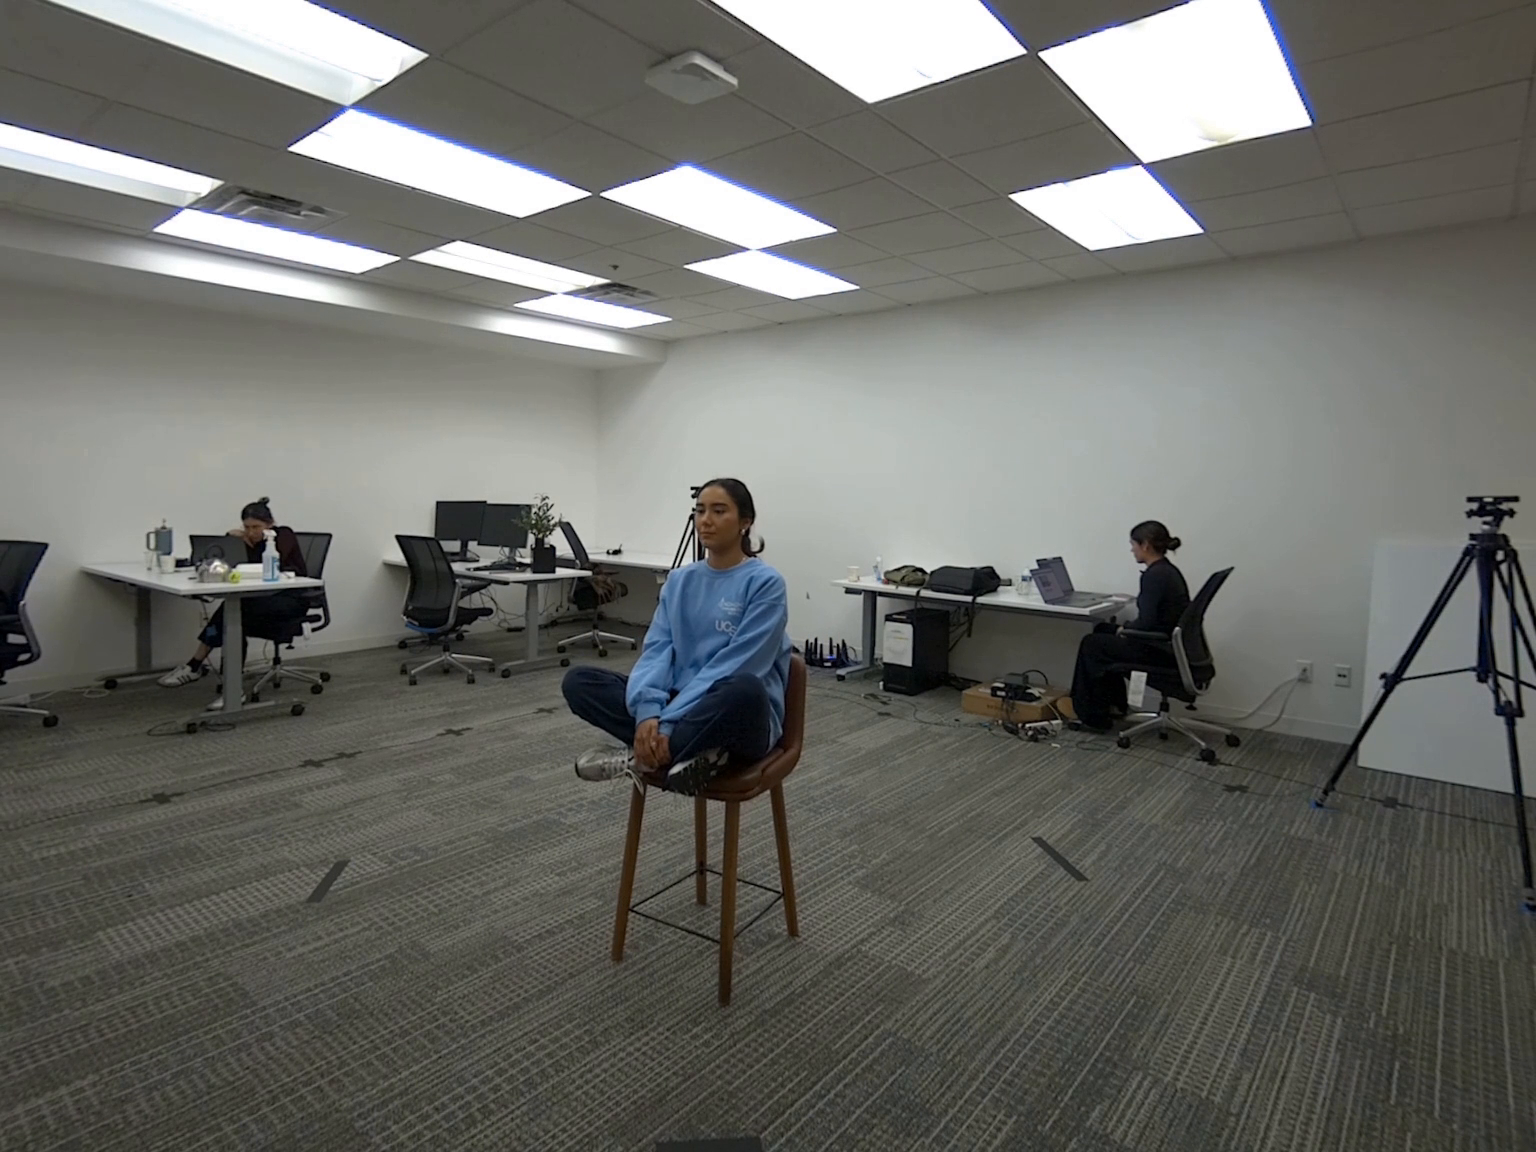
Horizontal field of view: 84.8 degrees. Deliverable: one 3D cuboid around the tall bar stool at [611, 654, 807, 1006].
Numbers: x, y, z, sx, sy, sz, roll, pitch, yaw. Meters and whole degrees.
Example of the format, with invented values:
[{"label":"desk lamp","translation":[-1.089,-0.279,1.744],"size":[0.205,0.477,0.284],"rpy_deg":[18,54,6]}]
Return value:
[{"label":"tall bar stool","translation":[-0.169,0.685,2.557],"size":[0.470,0.888,0.454],"rpy_deg":[4,2,32]}]
